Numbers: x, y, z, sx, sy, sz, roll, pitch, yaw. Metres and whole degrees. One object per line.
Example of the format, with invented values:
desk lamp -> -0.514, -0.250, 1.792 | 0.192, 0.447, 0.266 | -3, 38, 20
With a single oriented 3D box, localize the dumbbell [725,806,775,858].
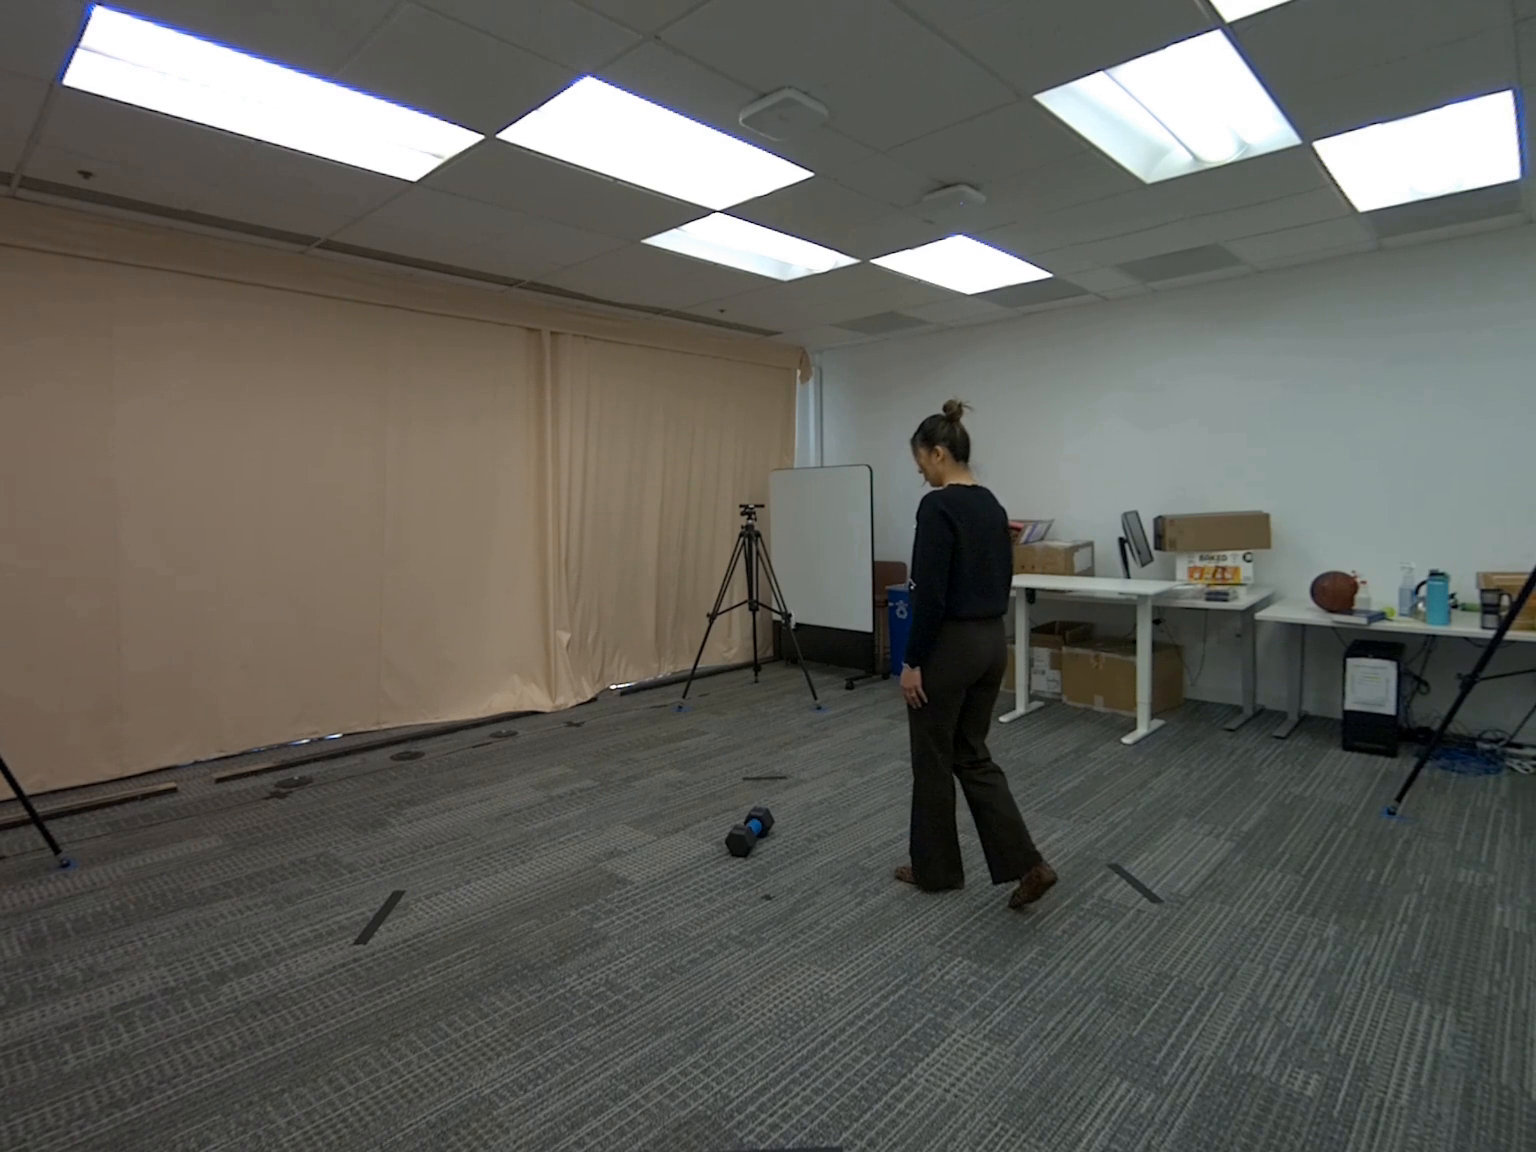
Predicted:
dumbbell -> -0.070, 1.043, 3.450 | 0.126, 0.108, 0.288 | 2, 6, 20
